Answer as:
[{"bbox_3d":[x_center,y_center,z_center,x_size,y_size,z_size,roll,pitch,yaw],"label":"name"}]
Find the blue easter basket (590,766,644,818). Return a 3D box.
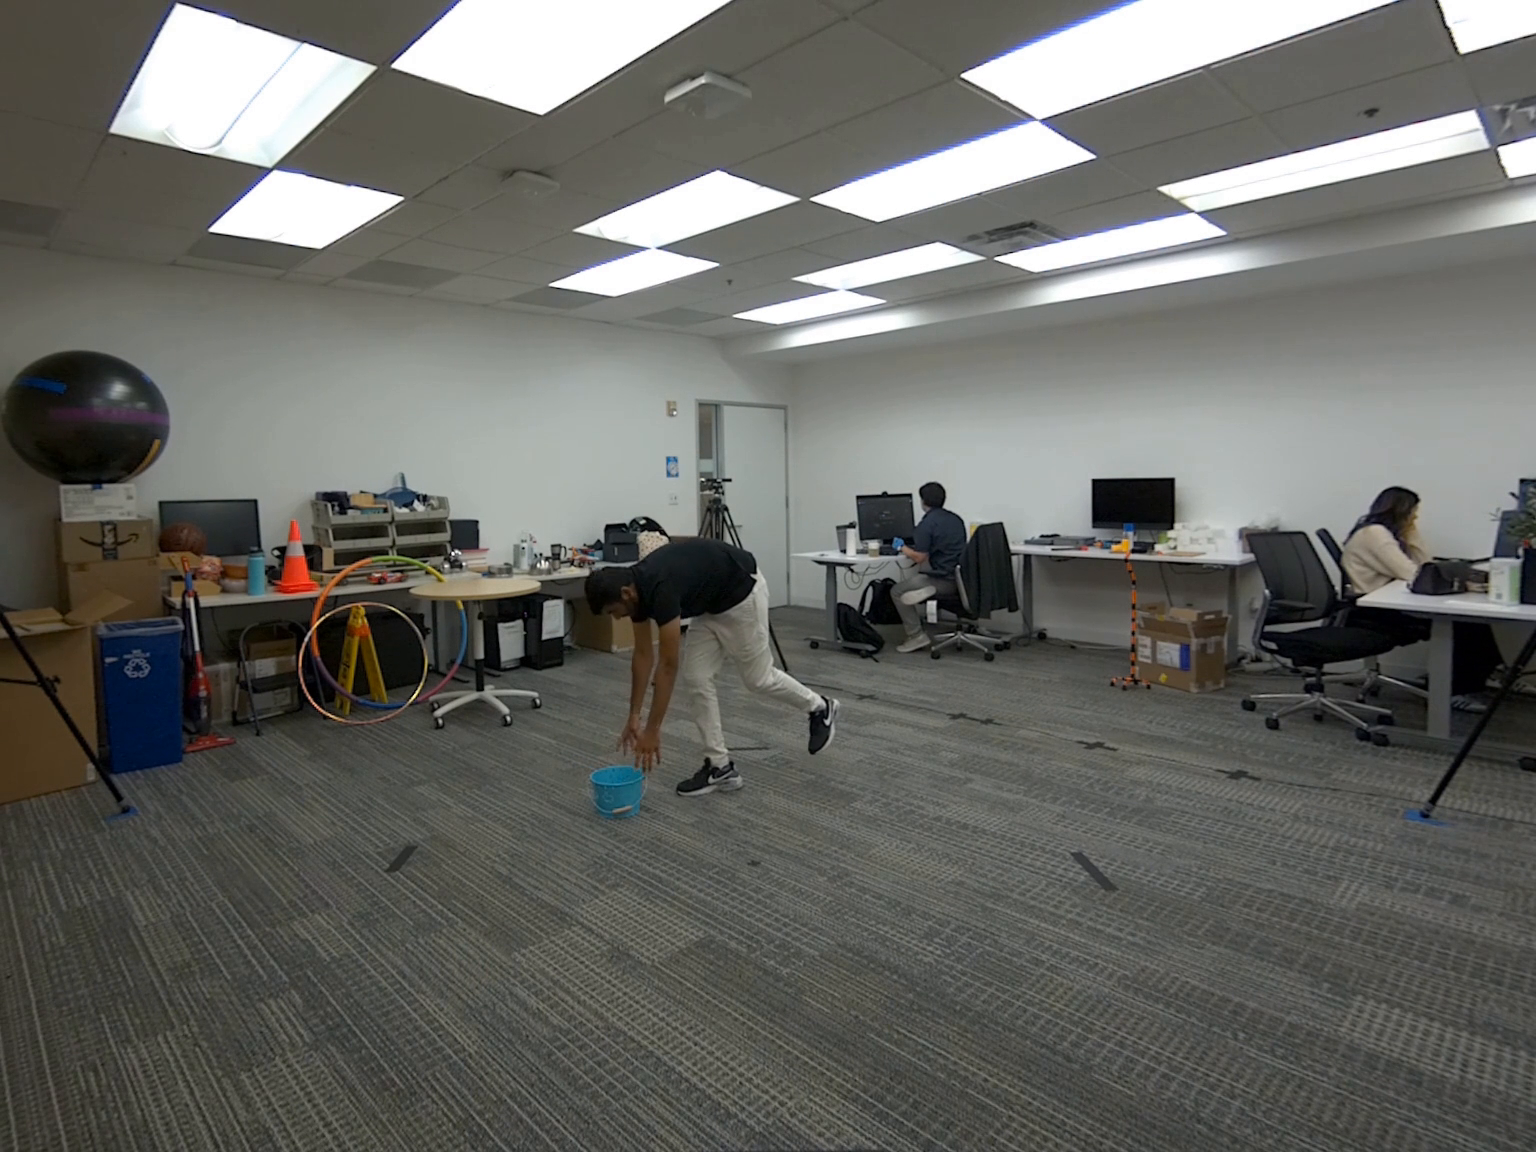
[{"bbox_3d":[-0.640,0.919,3.629,0.243,0.155,0.245,-1,5,-2],"label":"blue easter basket"}]
